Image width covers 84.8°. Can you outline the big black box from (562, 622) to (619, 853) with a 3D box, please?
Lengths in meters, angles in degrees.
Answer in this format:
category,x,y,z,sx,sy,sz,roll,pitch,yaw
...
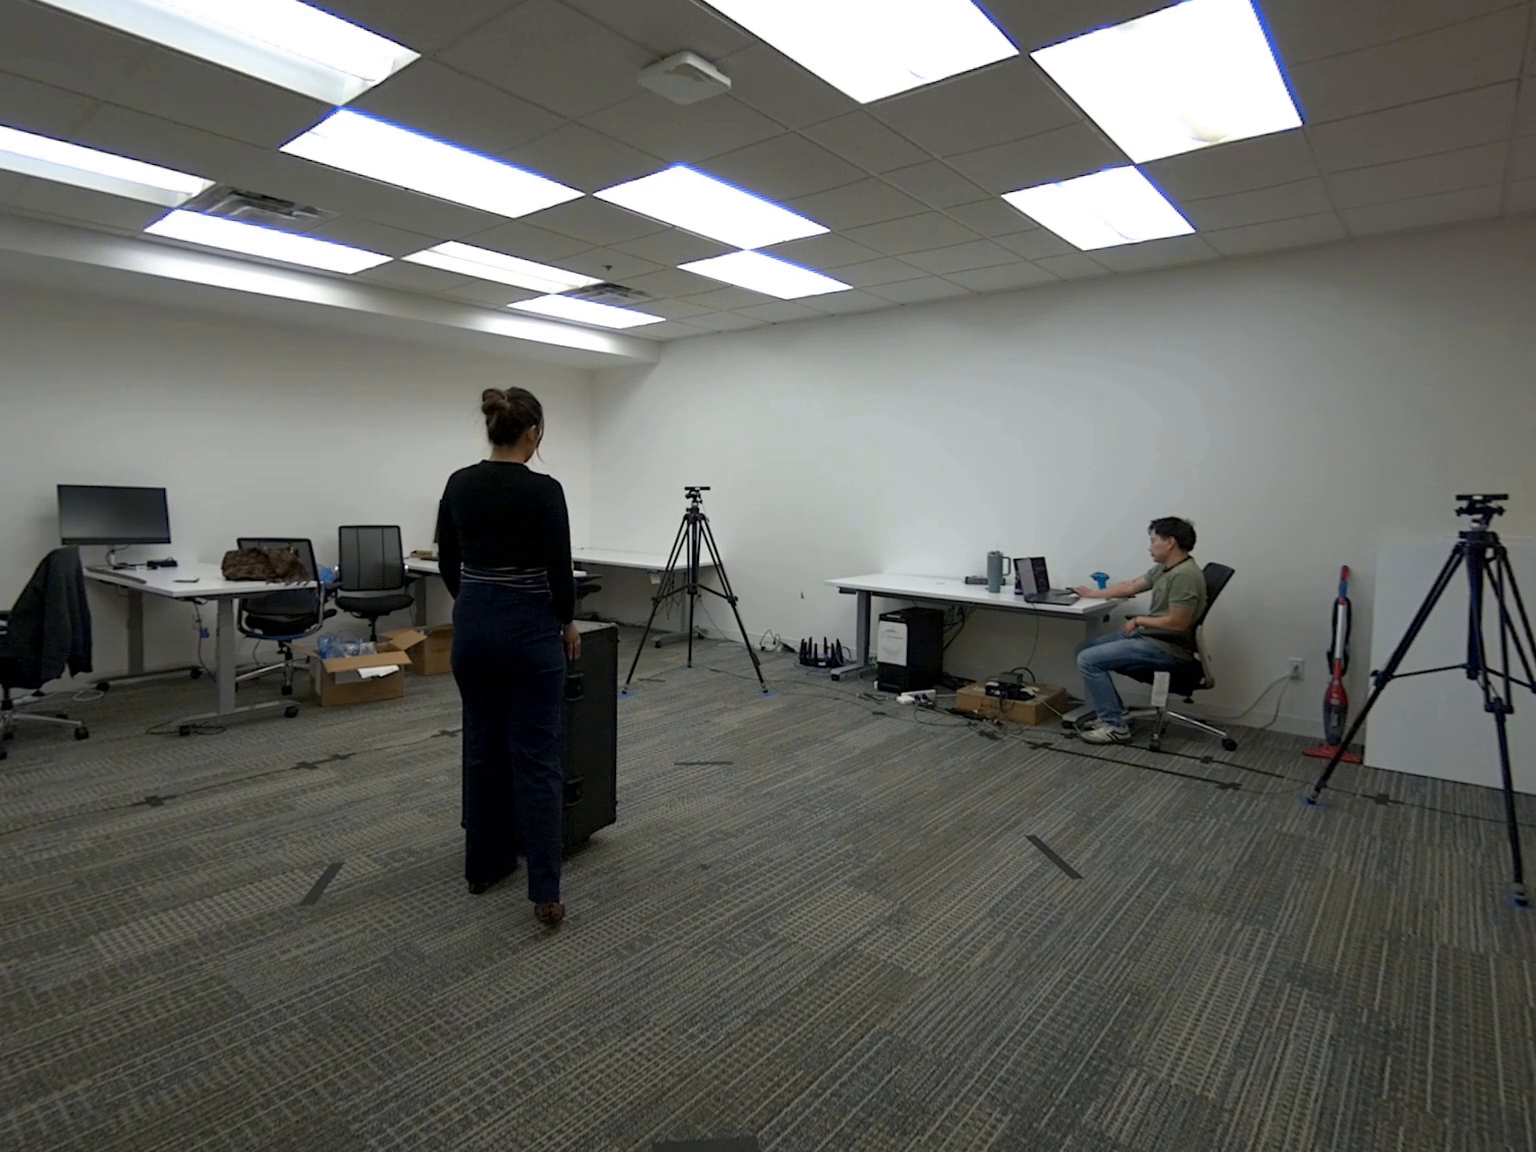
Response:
category,x,y,z,sx,sy,sz,roll,pitch,yaw
big black box,-0.896,0.610,3.317,0.536,0.860,0.386,3,2,27
